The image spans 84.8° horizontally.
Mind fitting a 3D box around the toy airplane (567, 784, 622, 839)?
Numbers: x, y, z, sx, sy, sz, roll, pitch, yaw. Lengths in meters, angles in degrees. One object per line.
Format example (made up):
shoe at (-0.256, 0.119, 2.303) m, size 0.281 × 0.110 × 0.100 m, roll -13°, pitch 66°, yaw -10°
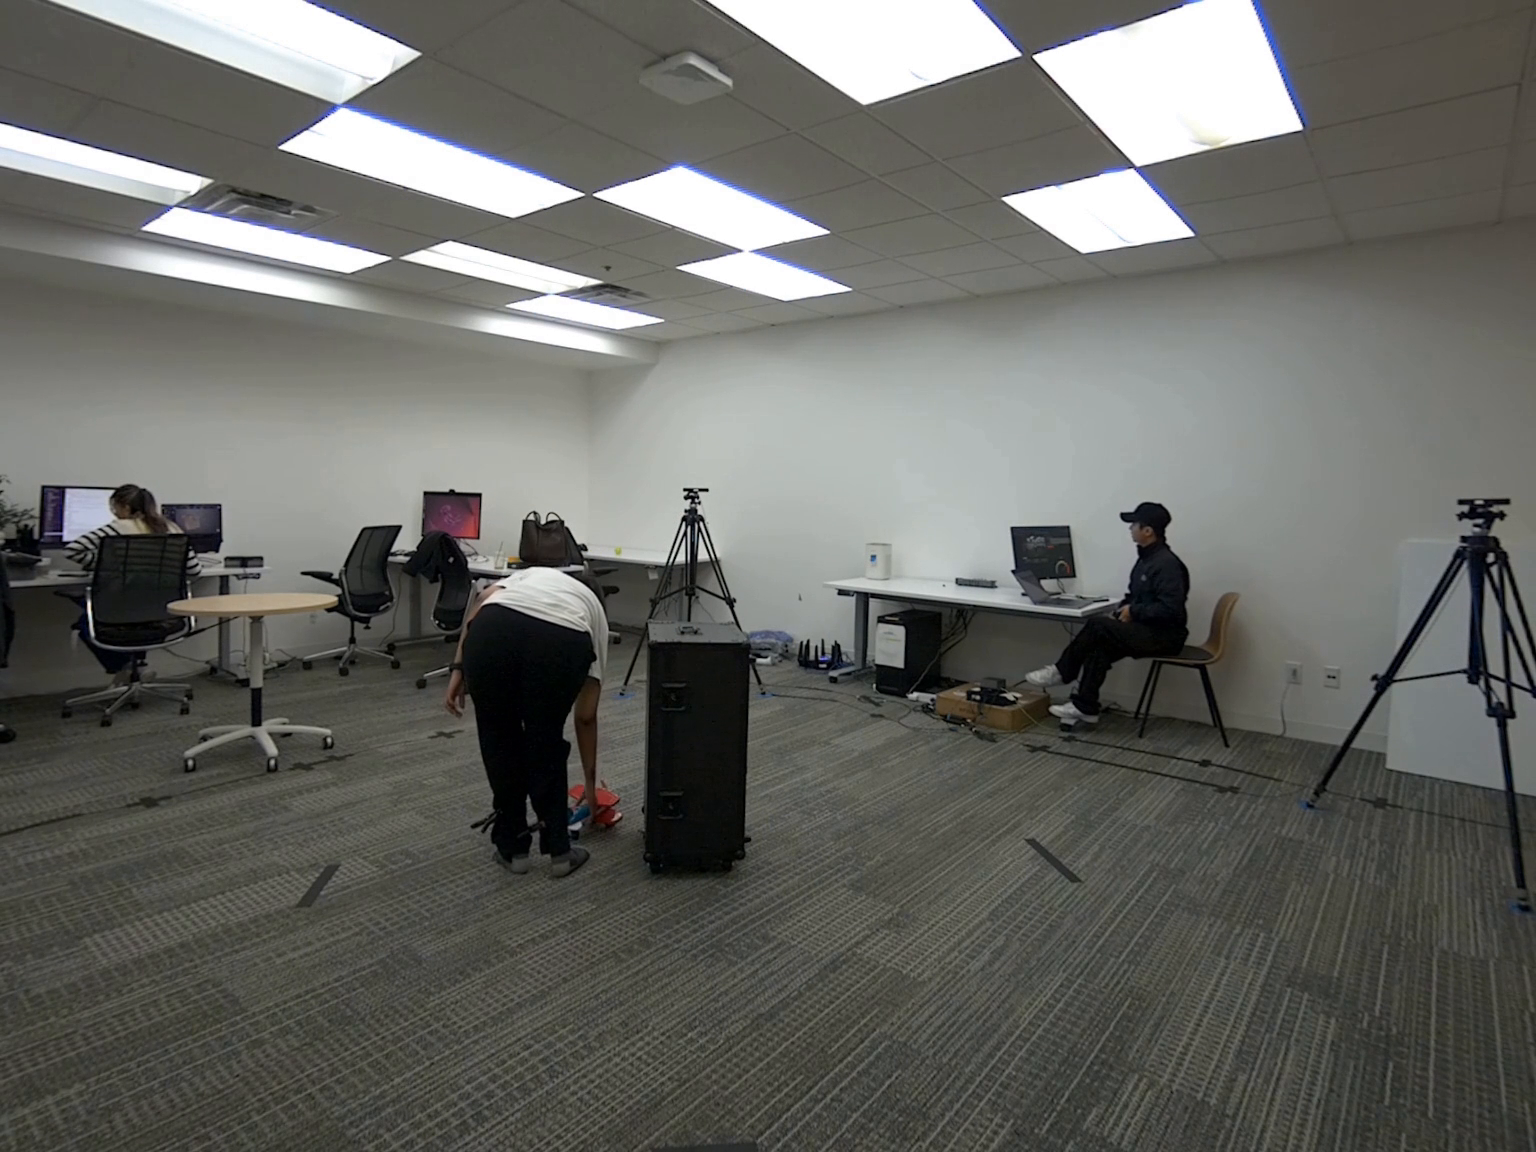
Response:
toy airplane at (-0.722, 0.960, 3.441) m, size 0.253 × 0.156 × 0.257 m, roll 1°, pitch 2°, yaw 6°
